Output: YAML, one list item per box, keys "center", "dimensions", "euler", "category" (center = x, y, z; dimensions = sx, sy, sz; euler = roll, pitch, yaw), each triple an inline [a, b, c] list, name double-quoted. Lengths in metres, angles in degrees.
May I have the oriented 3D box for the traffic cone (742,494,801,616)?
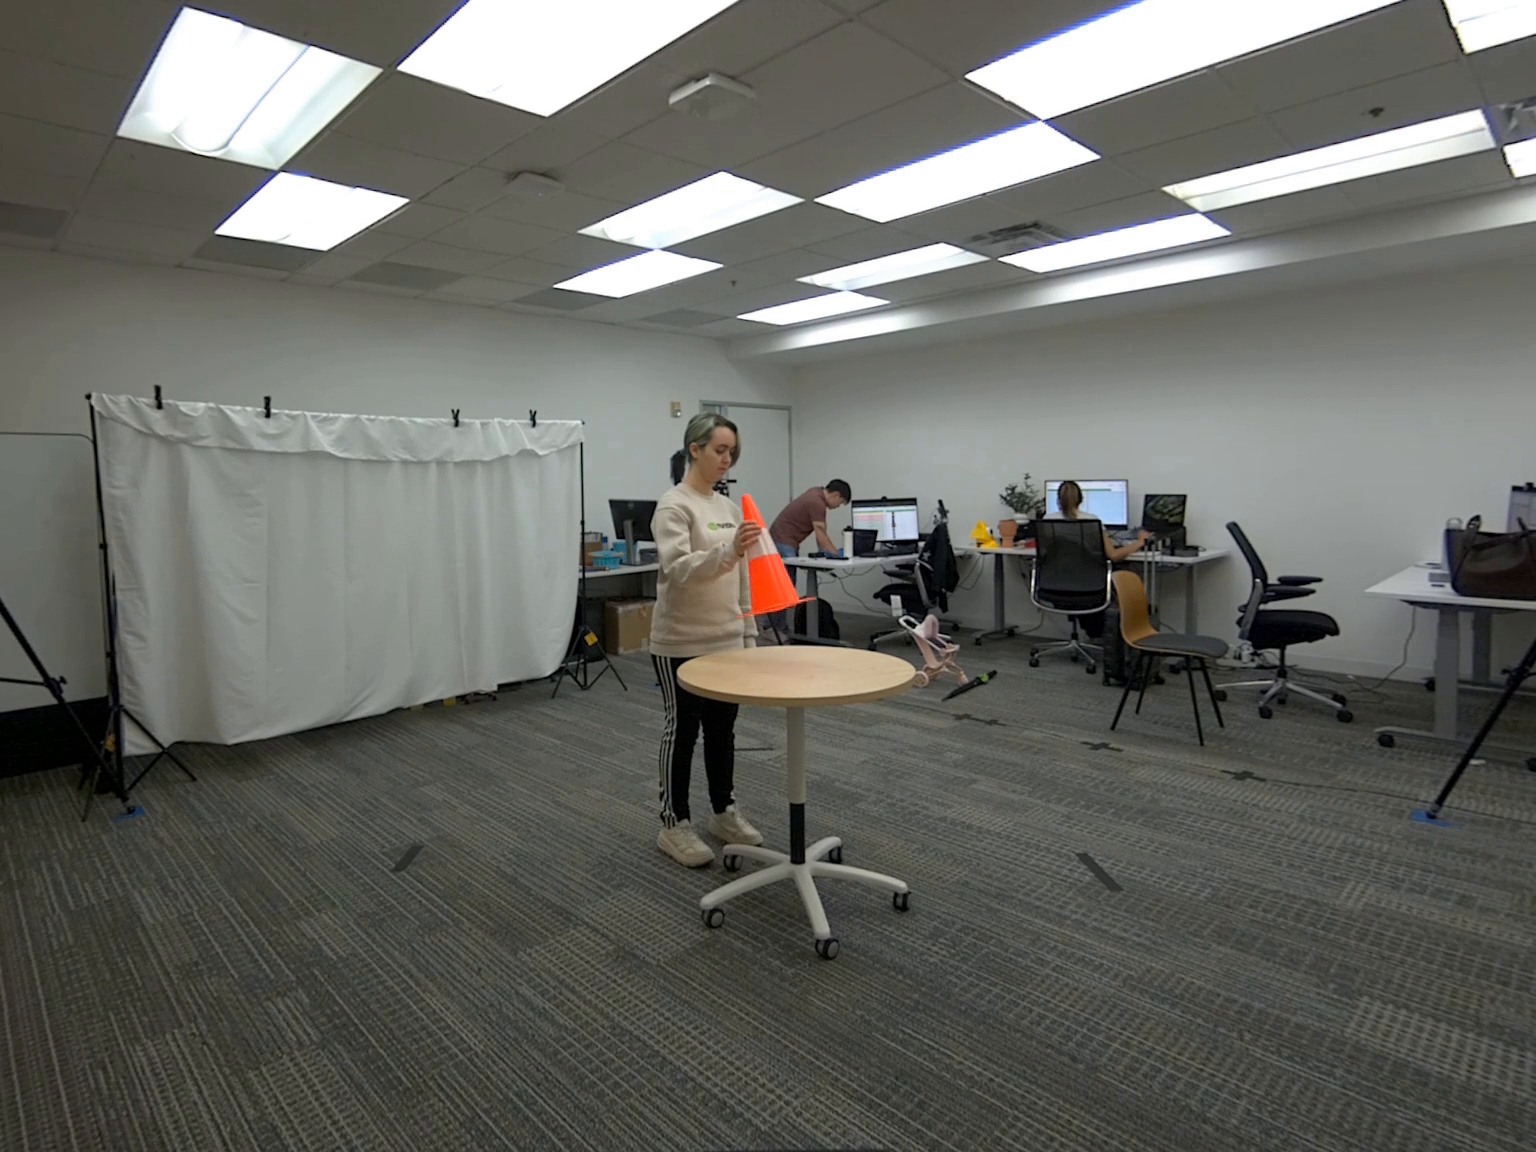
- center: [-0.023, -0.077, 2.758]
  dimensions: [0.207, 0.385, 0.200]
  euler: [-17, -5, 43]
  category: "traffic cone"
